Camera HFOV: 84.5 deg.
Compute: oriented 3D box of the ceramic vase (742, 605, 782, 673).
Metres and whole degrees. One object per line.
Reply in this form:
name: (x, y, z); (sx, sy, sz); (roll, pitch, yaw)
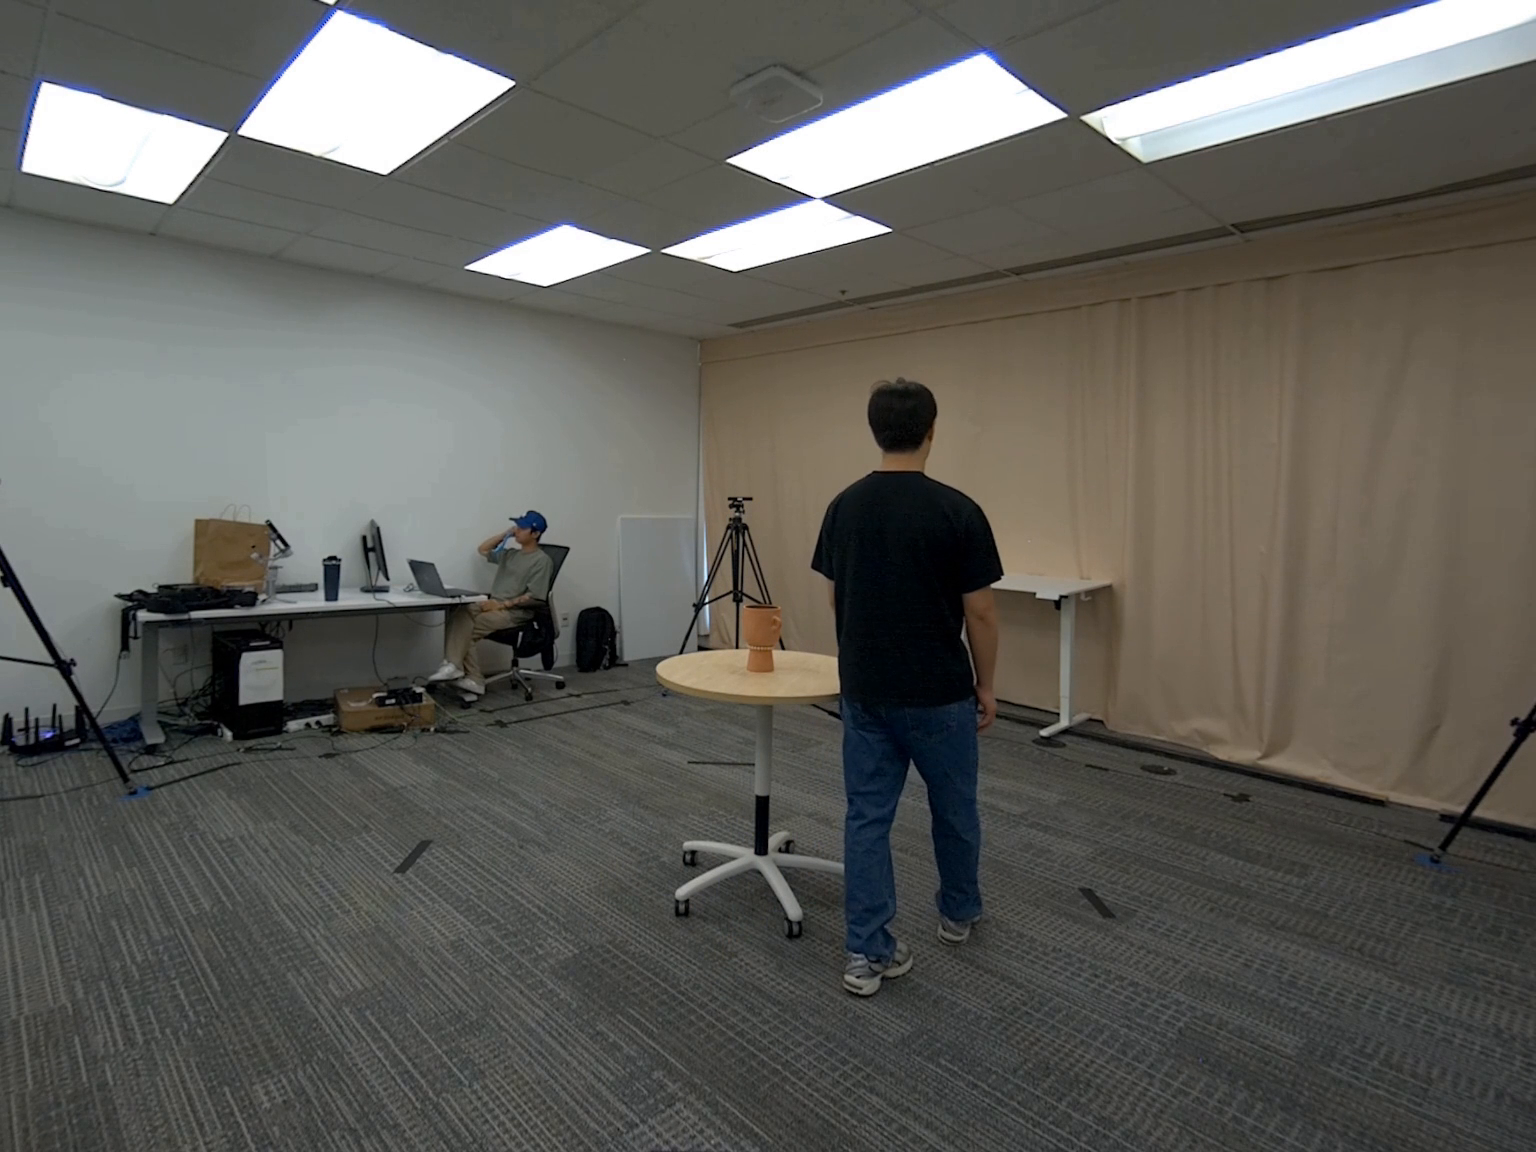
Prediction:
ceramic vase: (-0.033, 0.222, 2.933); (0.134, 0.219, 0.159); (2, 4, -2)
